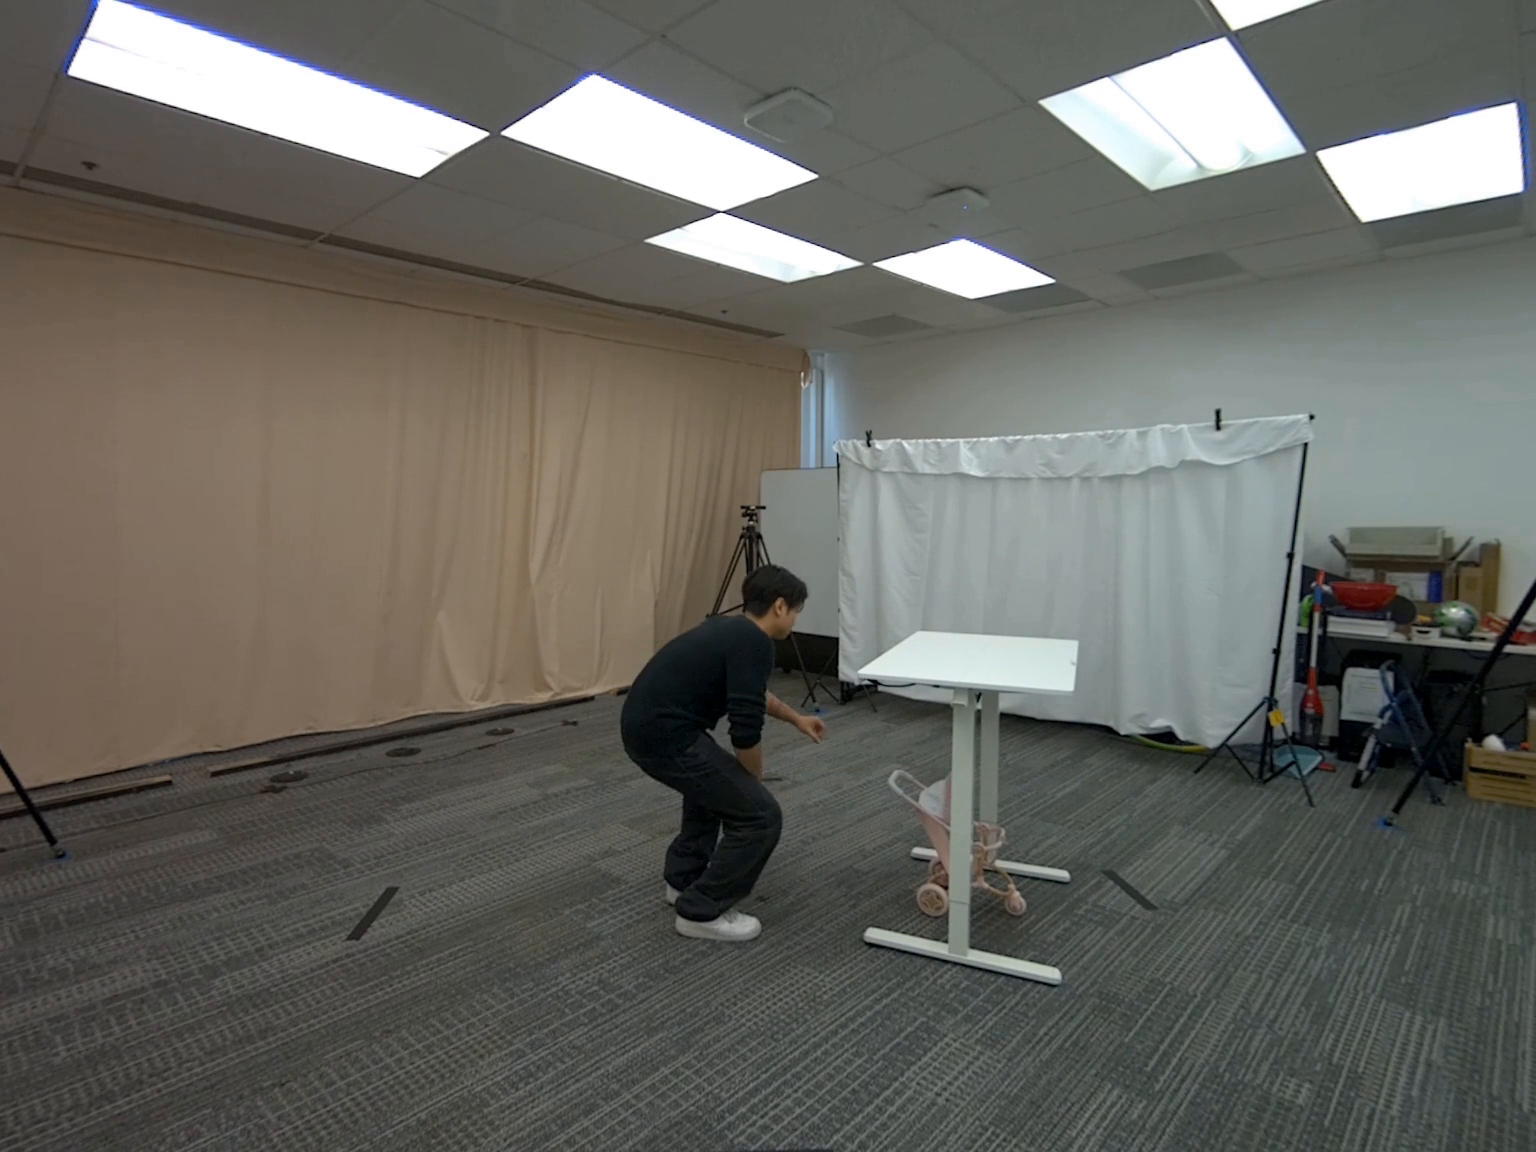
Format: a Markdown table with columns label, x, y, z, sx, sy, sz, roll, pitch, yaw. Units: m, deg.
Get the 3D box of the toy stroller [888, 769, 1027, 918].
| label | x | y | z | sx | sy | sz | roll | pitch | yaw |
| --- | --- | --- | --- | --- | --- | --- | --- | --- | --- |
| toy stroller | 0.666 | 0.926 | 2.925 | 0.348 | 0.537 | 0.274 | -17 | -5 | 27 |
